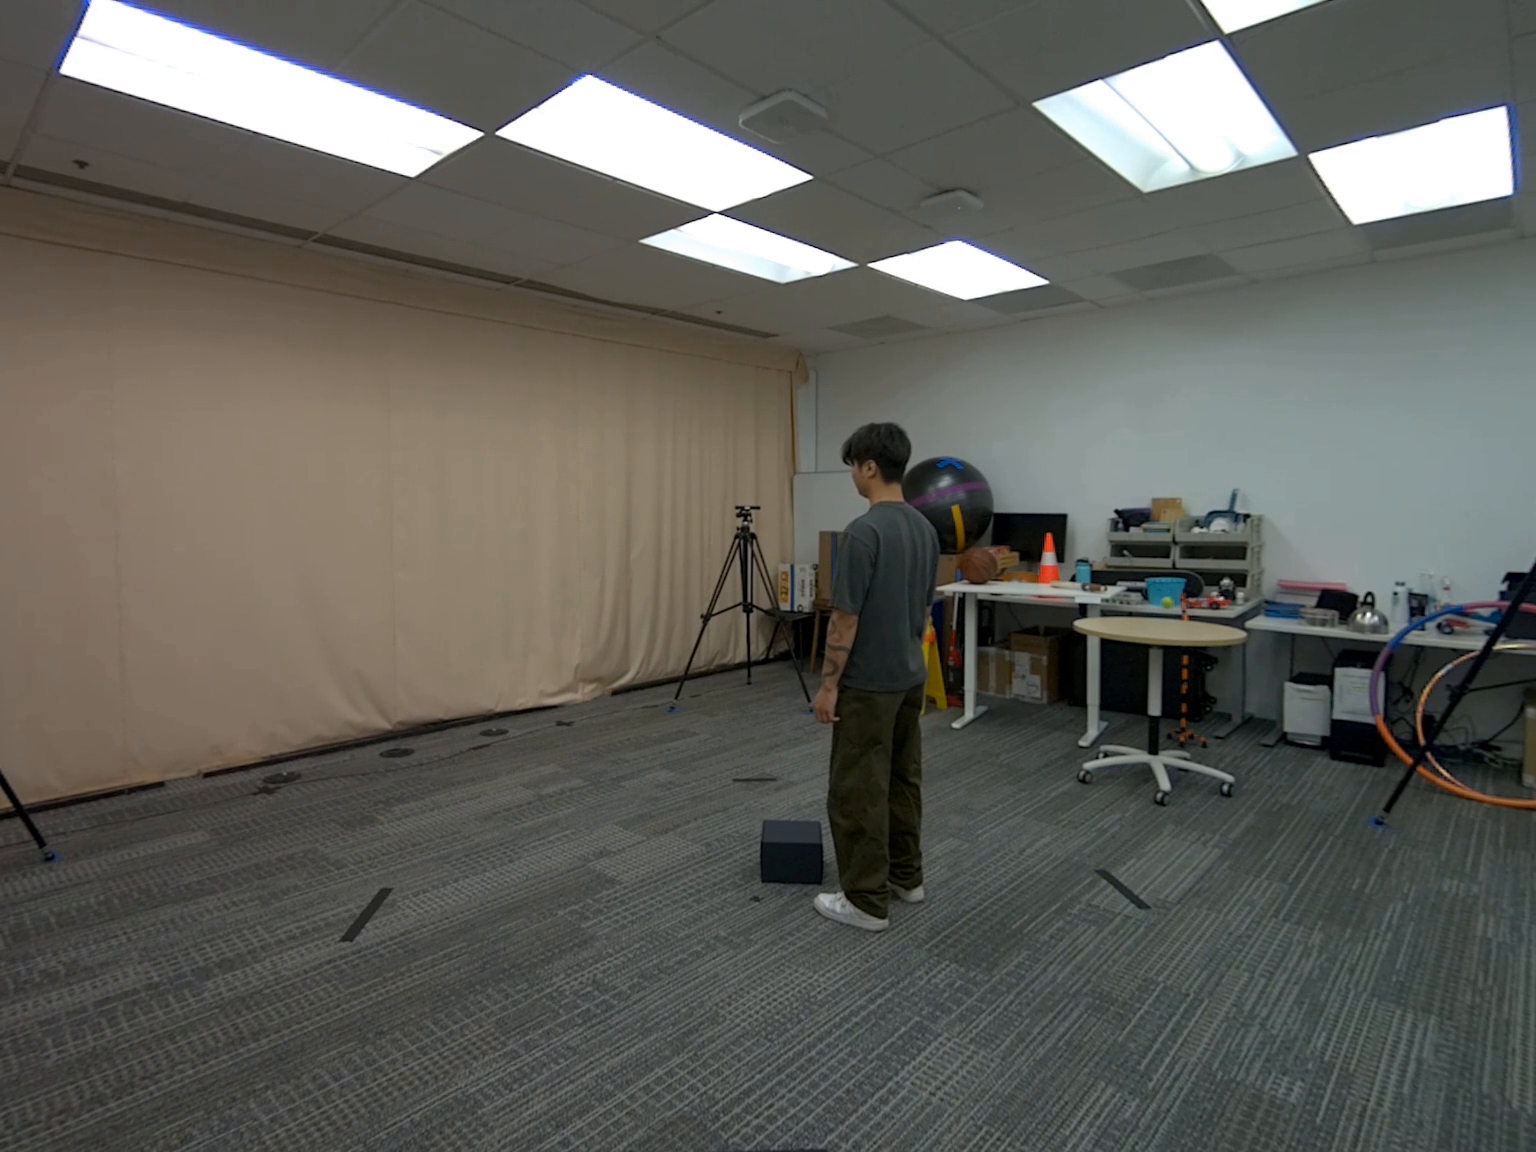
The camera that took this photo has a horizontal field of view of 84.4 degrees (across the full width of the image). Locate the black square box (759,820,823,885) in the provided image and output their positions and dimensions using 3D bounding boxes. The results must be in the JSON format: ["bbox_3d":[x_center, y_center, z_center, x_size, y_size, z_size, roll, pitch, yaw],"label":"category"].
[{"bbox_3d":[0.093,1.040,3.202,0.229,0.155,0.217,0,5,3],"label":"black square box"}]
